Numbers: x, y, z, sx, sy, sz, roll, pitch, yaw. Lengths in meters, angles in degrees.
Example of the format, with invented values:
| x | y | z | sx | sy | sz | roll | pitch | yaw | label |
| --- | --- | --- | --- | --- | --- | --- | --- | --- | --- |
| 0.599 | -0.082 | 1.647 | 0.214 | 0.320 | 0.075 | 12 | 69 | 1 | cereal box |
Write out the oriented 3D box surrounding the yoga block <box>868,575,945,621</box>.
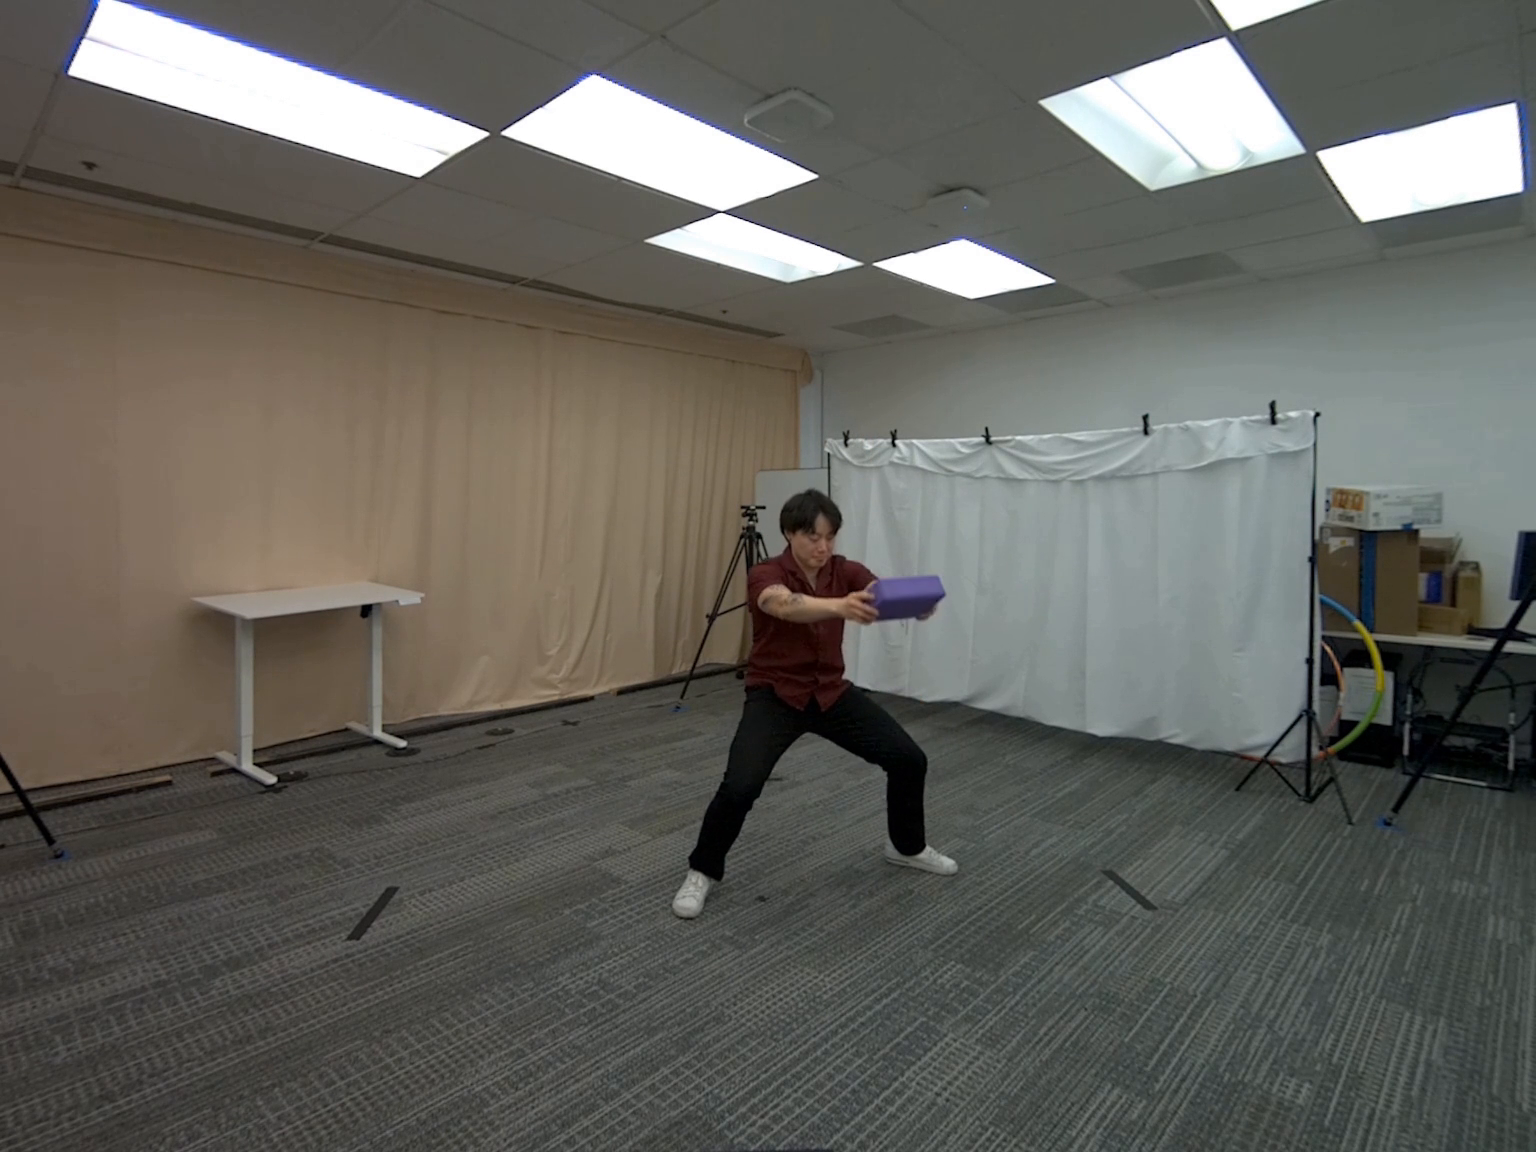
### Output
| x | y | z | sx | sy | sz | roll | pitch | yaw | label |
| --- | --- | --- | --- | --- | --- | --- | --- | --- | --- |
| 0.397 | 0.060 | 2.544 | 0.224 | 0.077 | 0.150 | -2 | -21 | -23 | yoga block |
